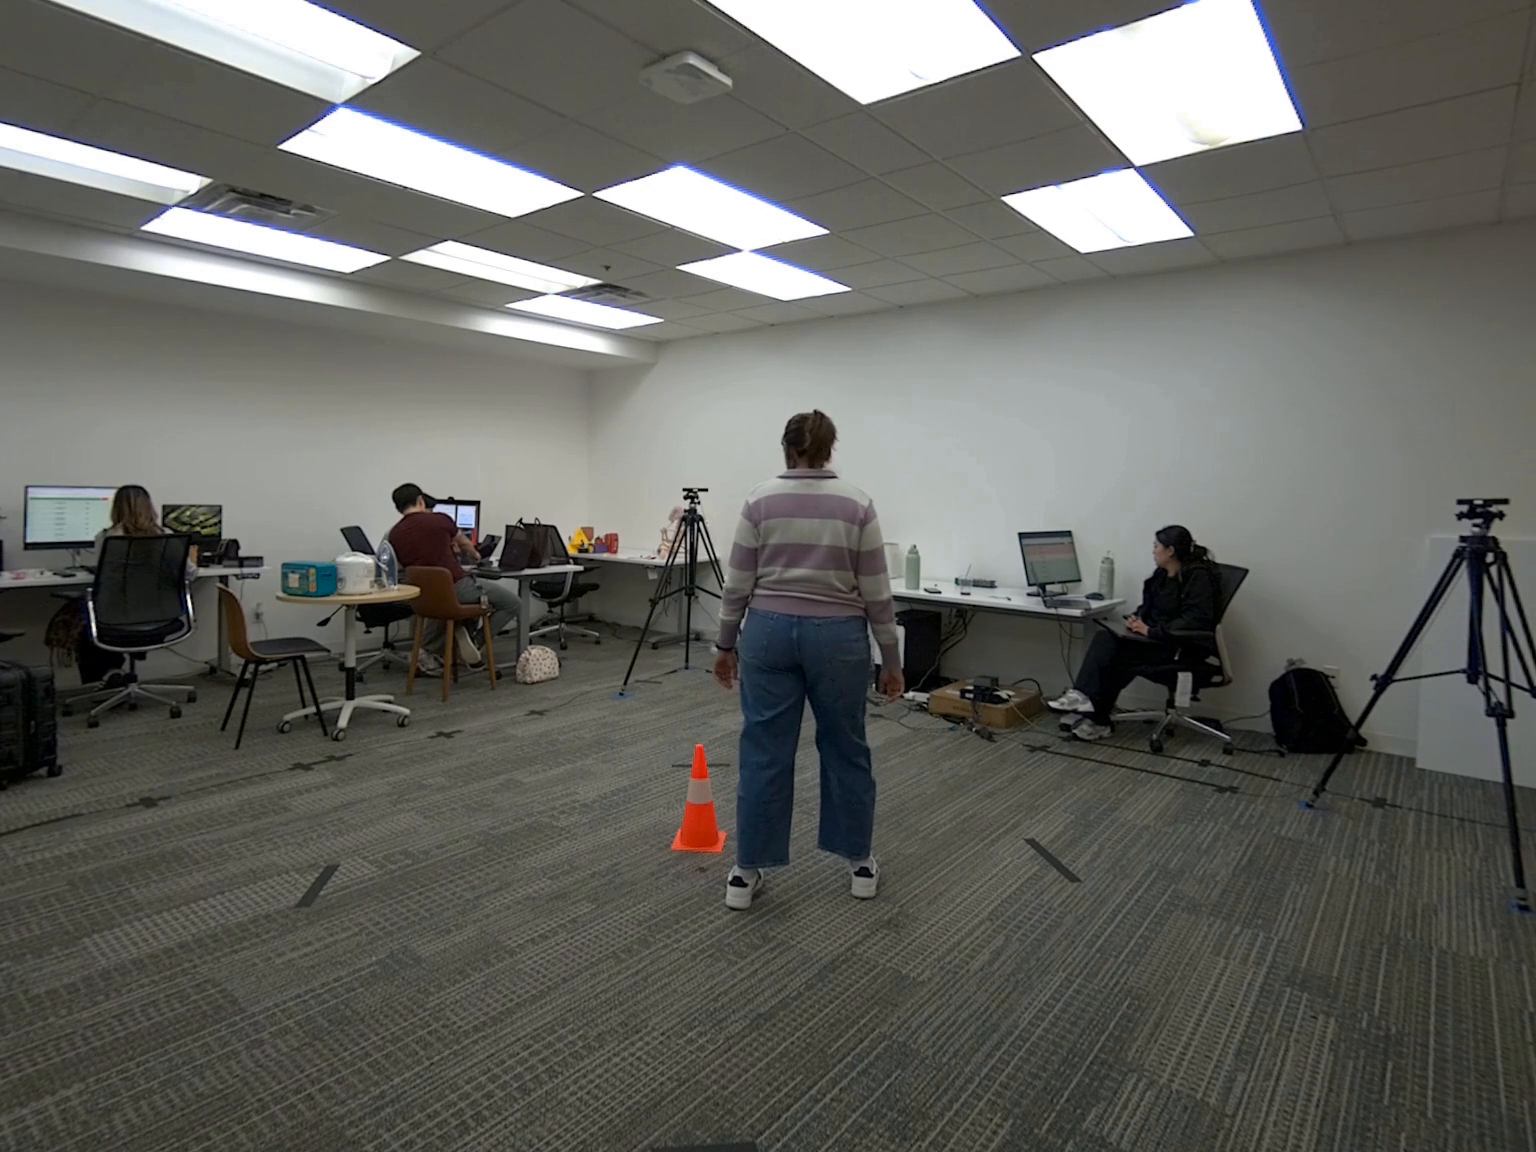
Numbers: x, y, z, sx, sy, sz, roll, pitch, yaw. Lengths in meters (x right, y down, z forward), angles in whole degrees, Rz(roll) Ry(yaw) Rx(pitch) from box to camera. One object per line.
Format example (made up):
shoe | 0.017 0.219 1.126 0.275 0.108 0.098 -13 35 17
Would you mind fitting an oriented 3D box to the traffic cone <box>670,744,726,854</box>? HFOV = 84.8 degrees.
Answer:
traffic cone | -0.275 0.859 3.351 0.207 0.382 0.202 1 4 6
